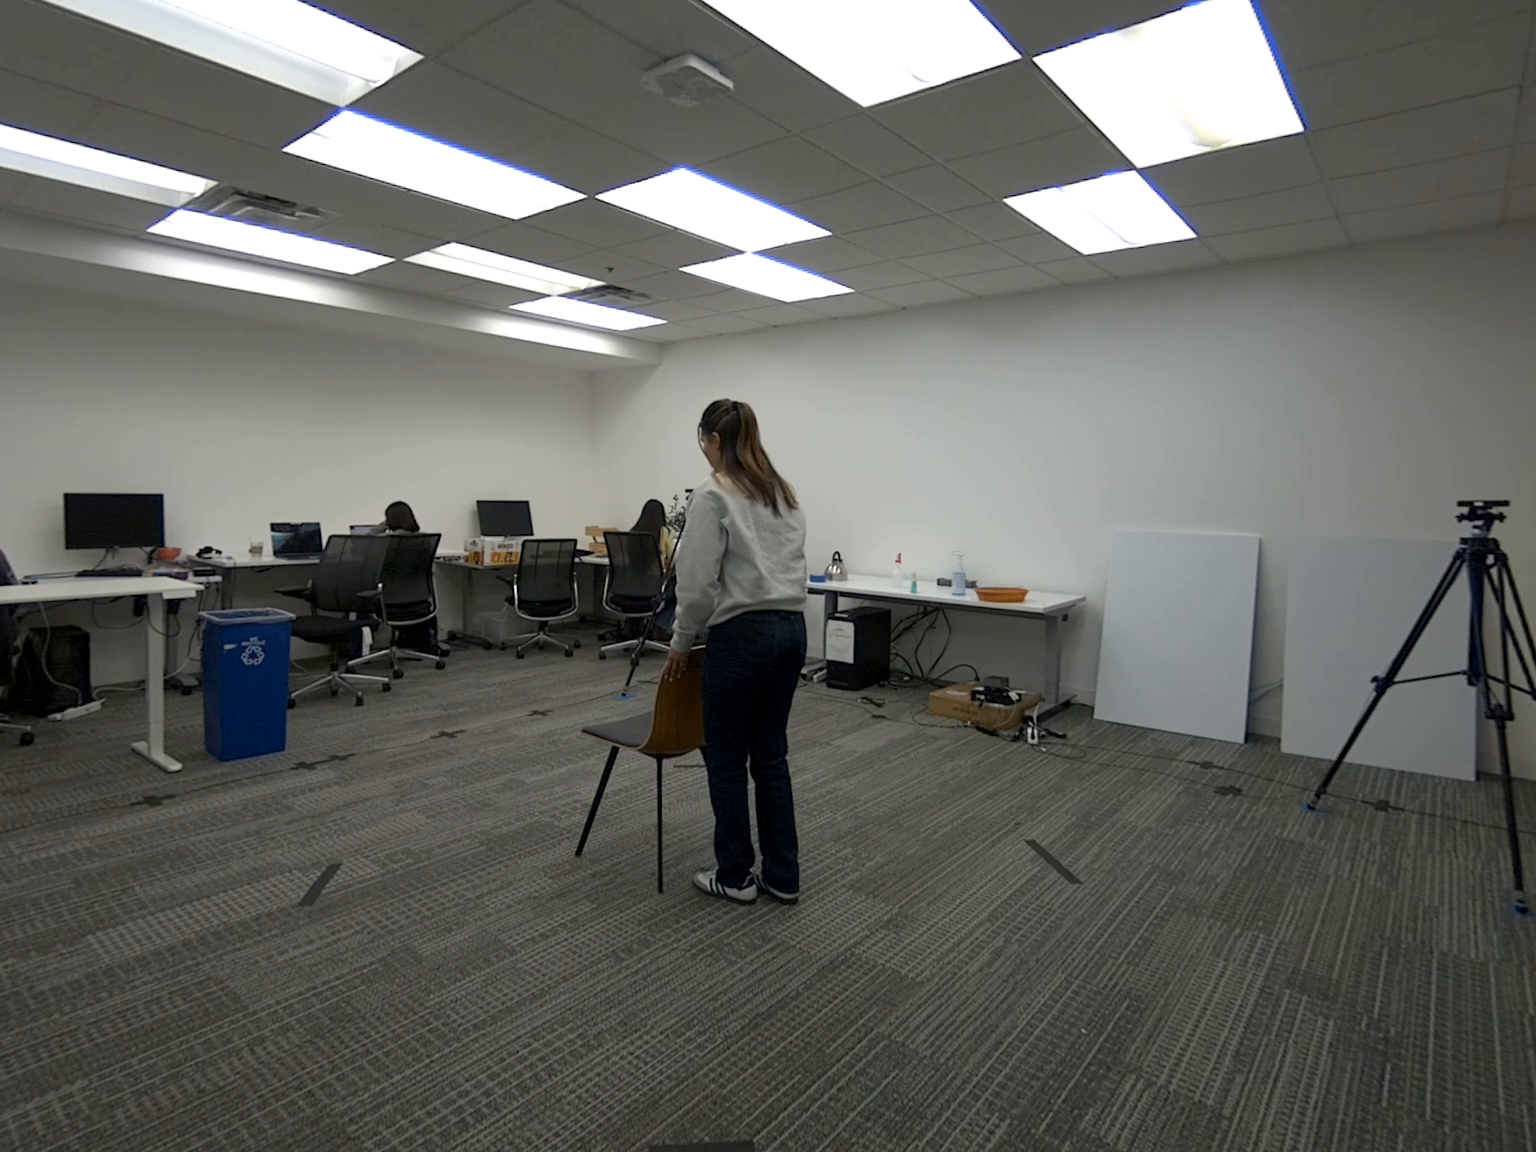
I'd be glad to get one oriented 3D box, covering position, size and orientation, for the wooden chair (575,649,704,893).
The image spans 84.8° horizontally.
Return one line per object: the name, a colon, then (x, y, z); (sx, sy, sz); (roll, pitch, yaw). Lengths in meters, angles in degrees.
wooden chair: (-0.425, 0.635, 3.211); (0.542, 0.873, 0.464); (9, 7, 38)
